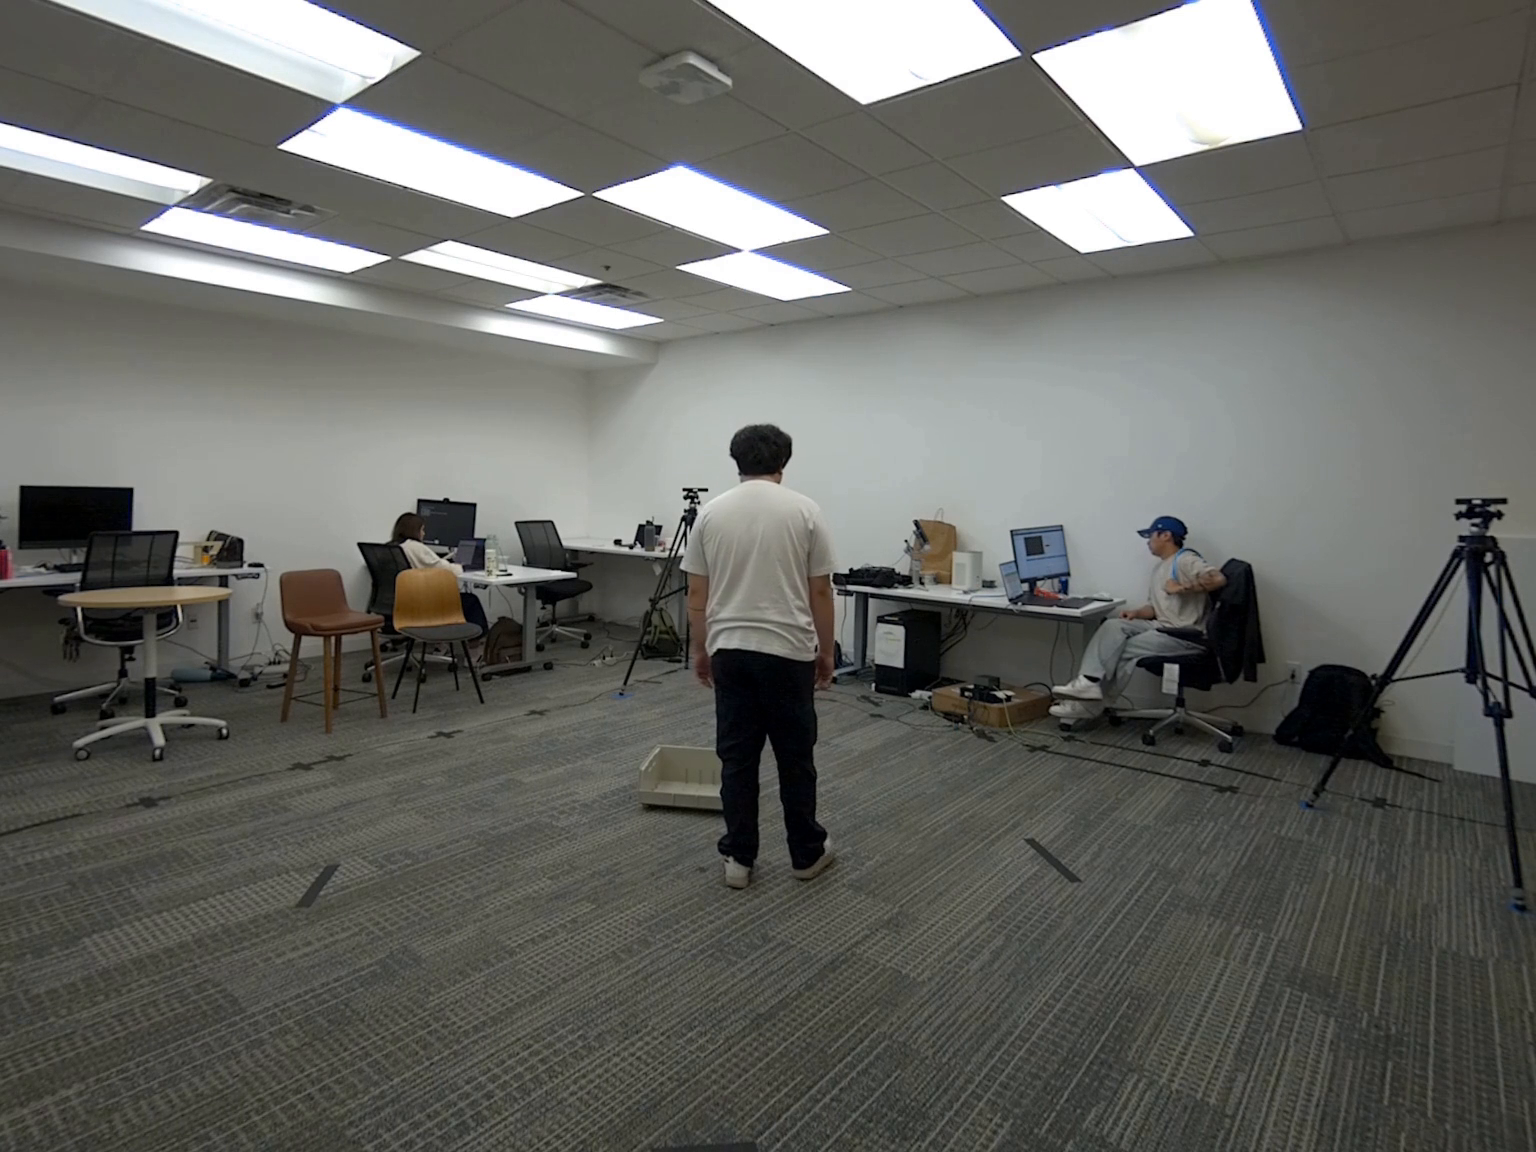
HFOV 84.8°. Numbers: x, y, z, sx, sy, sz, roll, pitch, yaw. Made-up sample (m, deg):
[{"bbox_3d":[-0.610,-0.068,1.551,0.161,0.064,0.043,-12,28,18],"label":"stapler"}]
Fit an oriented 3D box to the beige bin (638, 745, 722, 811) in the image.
[{"bbox_3d":[-0.348,0.909,3.809,0.426,0.188,0.375,1,4,8],"label":"beige bin"}]
